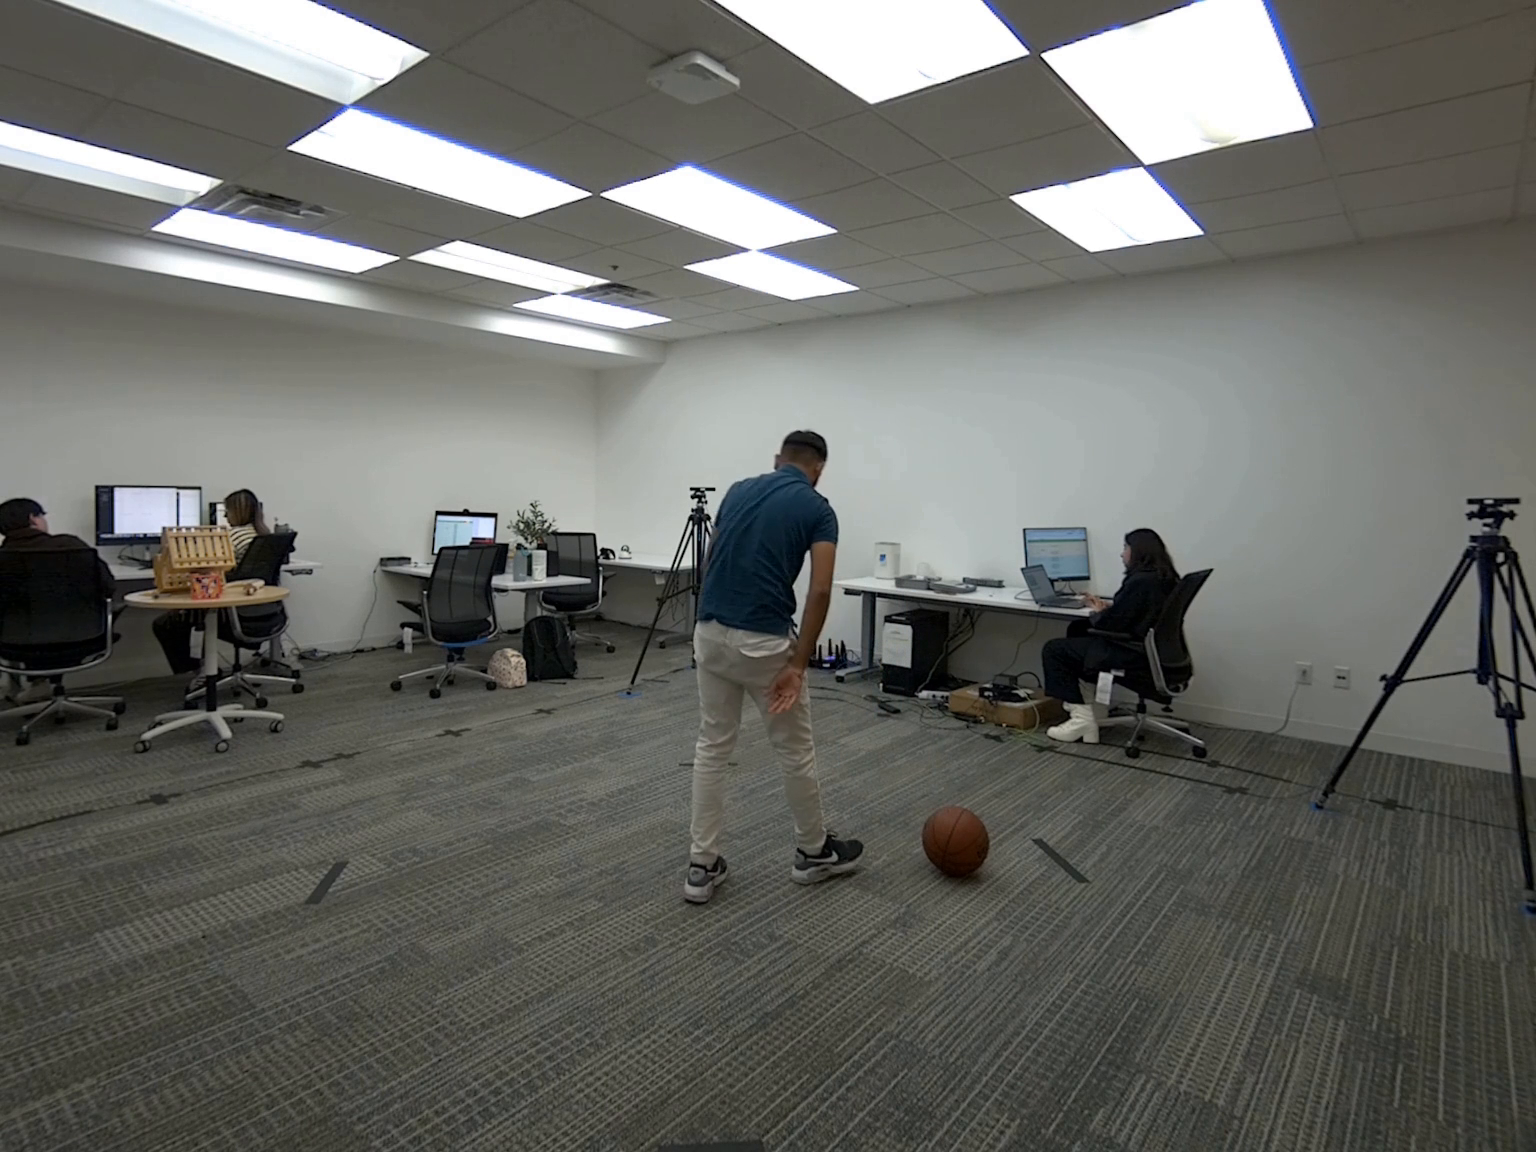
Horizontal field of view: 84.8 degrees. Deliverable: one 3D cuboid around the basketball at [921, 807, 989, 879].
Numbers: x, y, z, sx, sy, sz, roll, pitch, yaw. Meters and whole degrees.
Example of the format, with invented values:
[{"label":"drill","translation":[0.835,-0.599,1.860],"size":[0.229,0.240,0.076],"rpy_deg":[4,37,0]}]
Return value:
[{"label":"basketball","translation":[0.683,0.966,3.126],"size":[0.235,0.235,0.237],"rpy_deg":[1,4,-2]}]
